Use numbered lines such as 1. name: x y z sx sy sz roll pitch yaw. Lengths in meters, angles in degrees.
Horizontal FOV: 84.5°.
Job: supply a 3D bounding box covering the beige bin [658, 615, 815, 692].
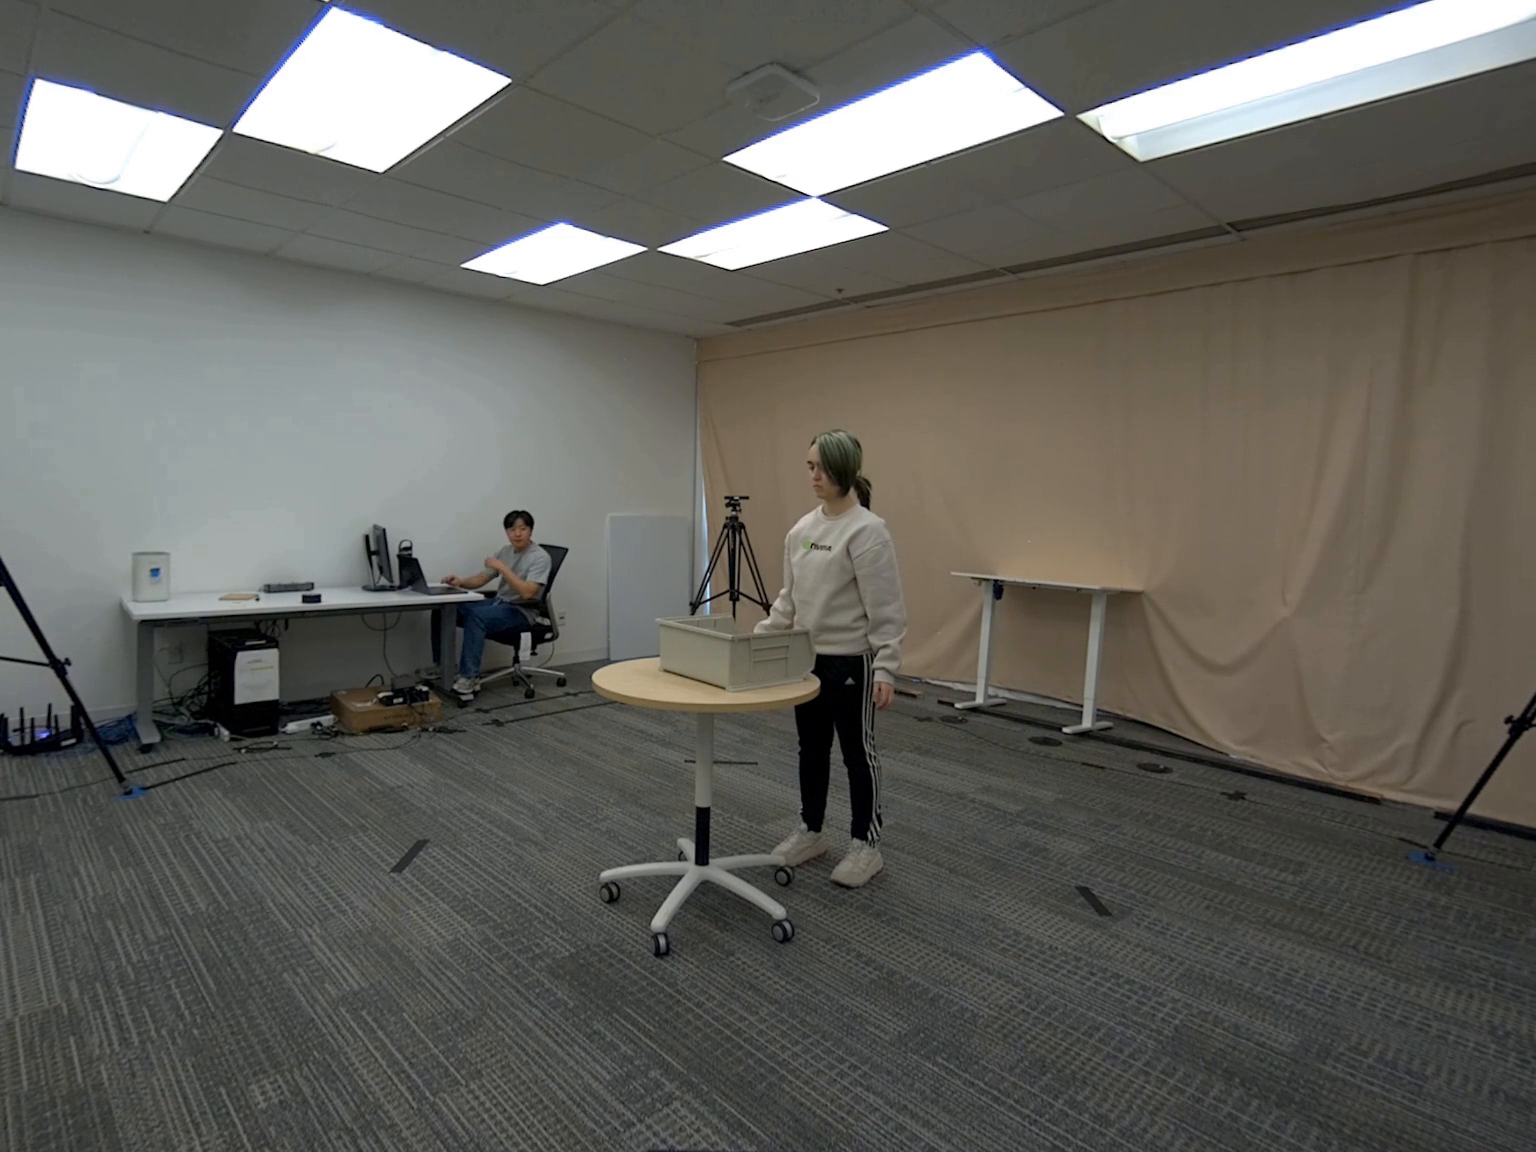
1. beige bin: -0.122 0.253 2.882 0.369 0.188 0.433 -3 7 -40
